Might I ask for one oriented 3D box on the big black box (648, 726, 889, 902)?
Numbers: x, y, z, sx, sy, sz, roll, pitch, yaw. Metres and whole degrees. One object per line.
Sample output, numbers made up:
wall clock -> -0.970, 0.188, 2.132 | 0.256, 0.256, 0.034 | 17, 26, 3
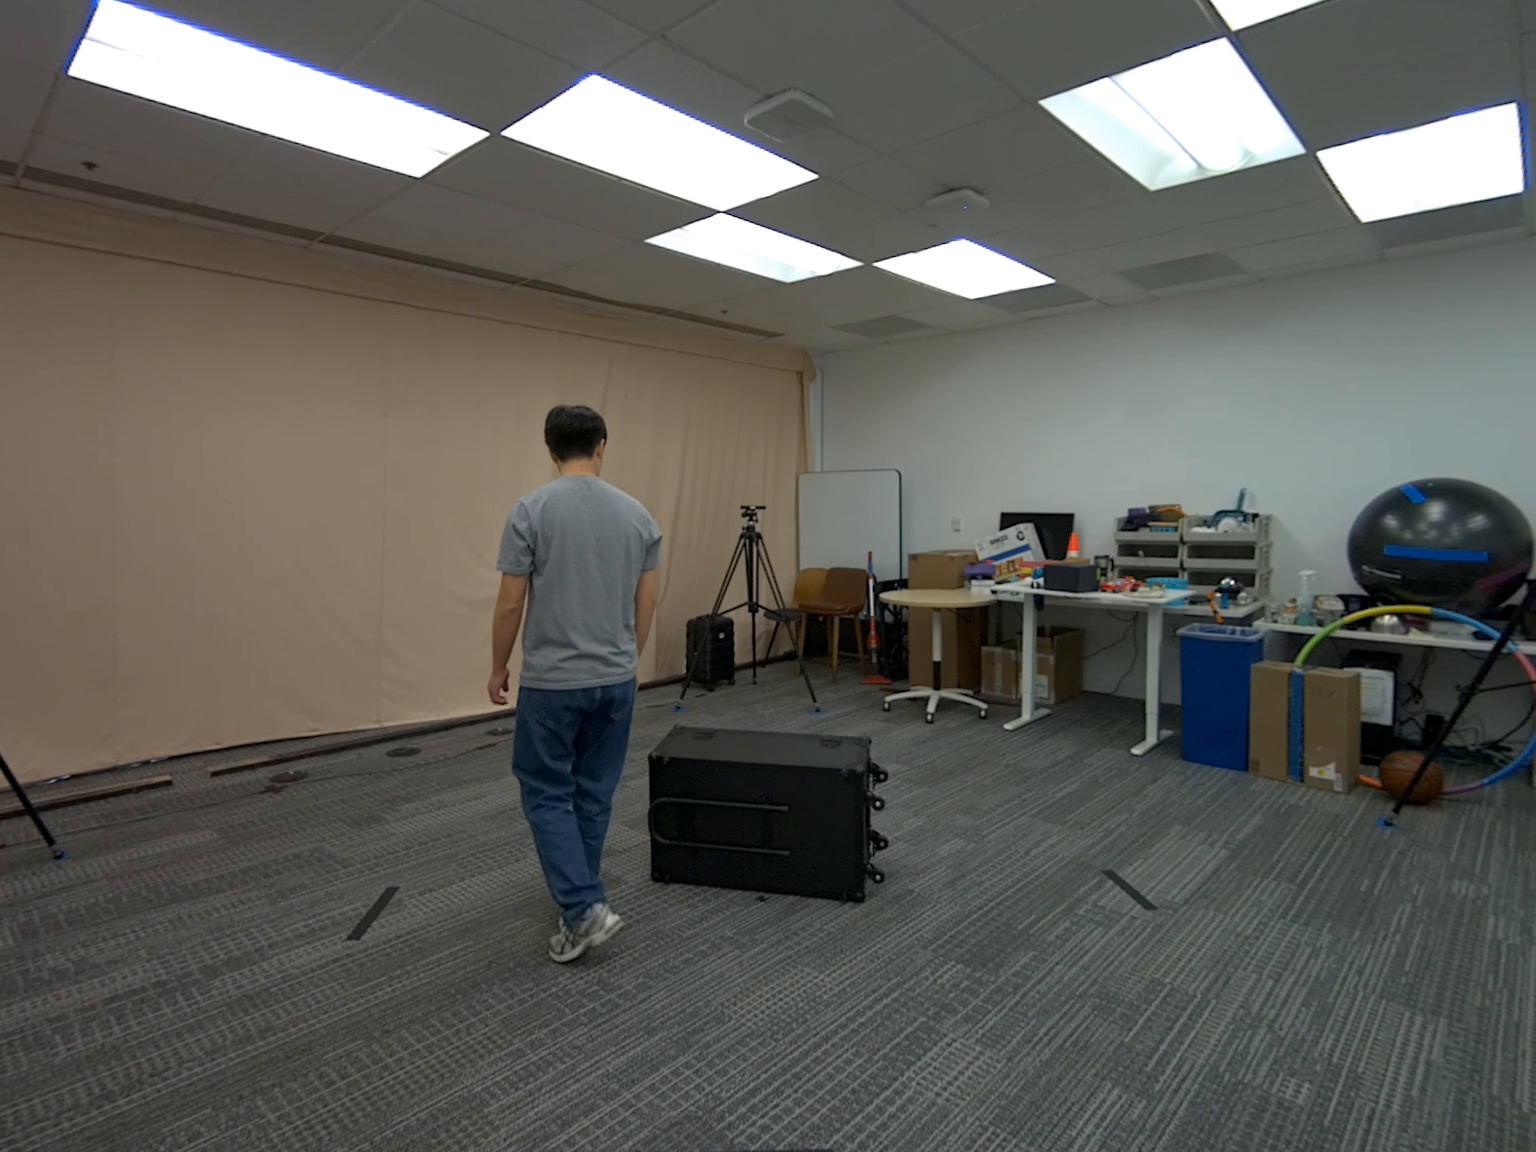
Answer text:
big black box -> 0.013, 0.871, 3.155 | 0.874, 0.519, 0.392 | 1, 7, 13
